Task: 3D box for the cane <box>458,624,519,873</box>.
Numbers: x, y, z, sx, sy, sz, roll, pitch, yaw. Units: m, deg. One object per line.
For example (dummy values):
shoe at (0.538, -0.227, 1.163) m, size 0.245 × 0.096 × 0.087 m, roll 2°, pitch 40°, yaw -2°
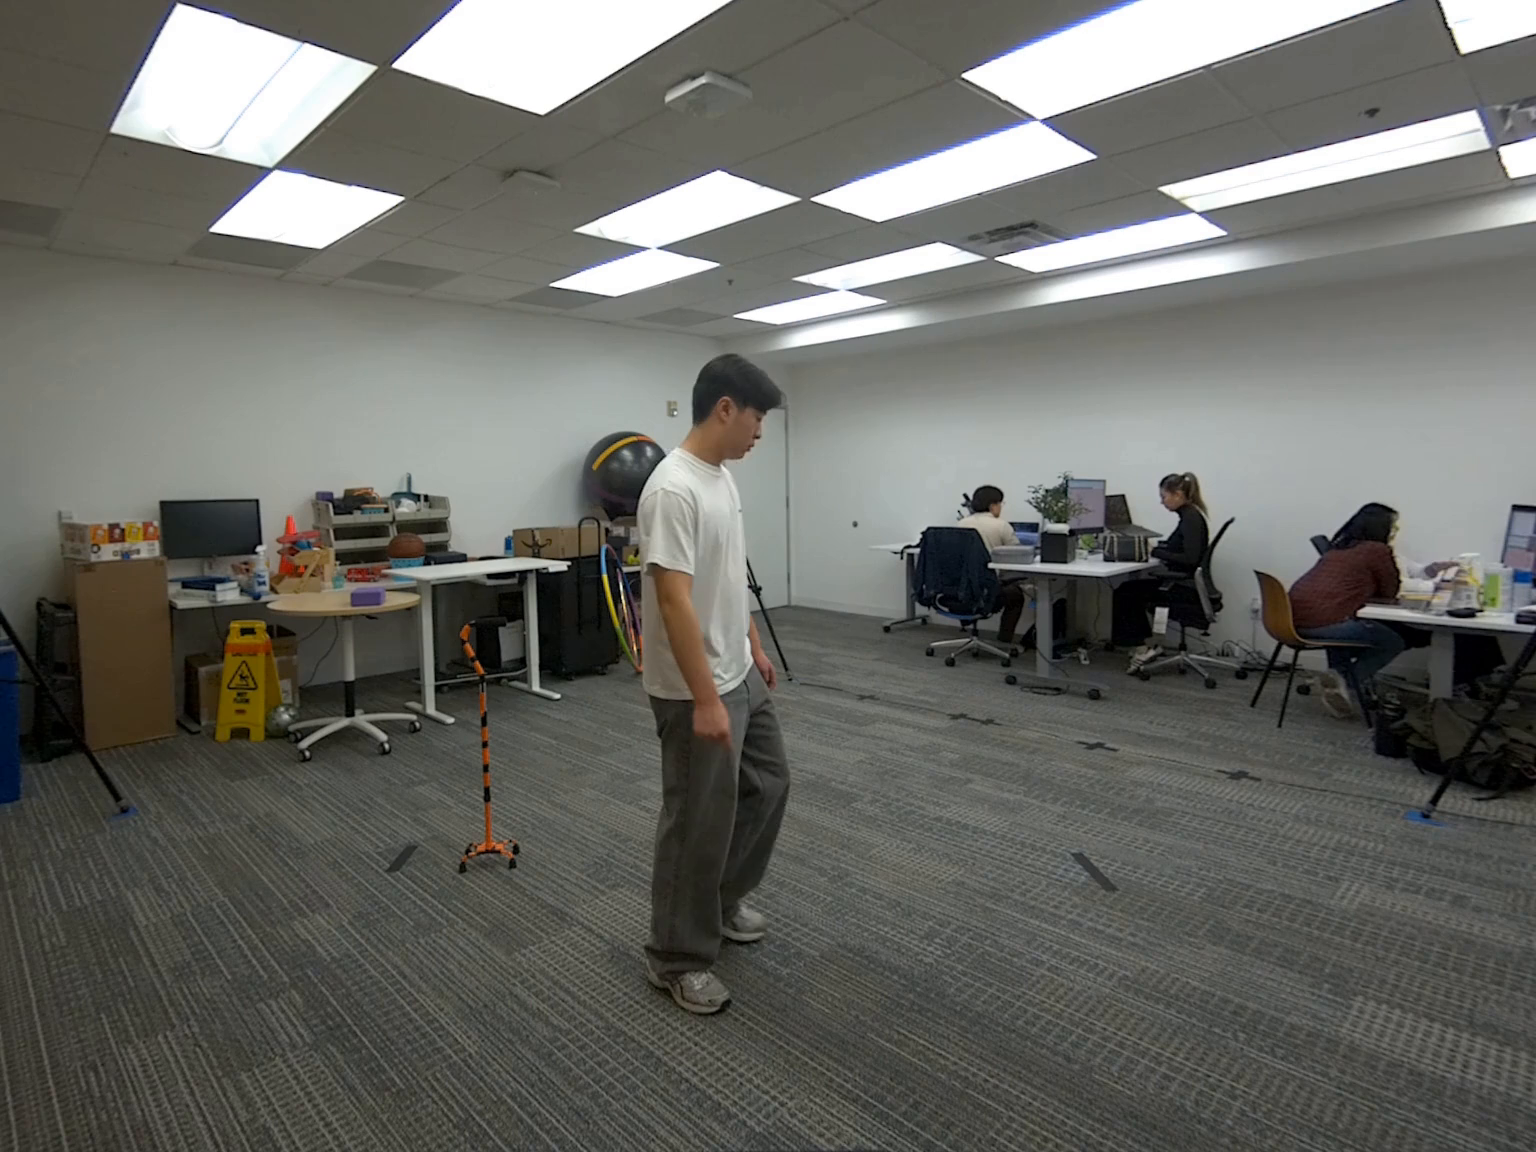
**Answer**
cane at (-1.036, 0.606, 3.139) m, size 0.205 × 0.904 × 0.153 m, roll -2°, pitch 4°, yaw -9°
